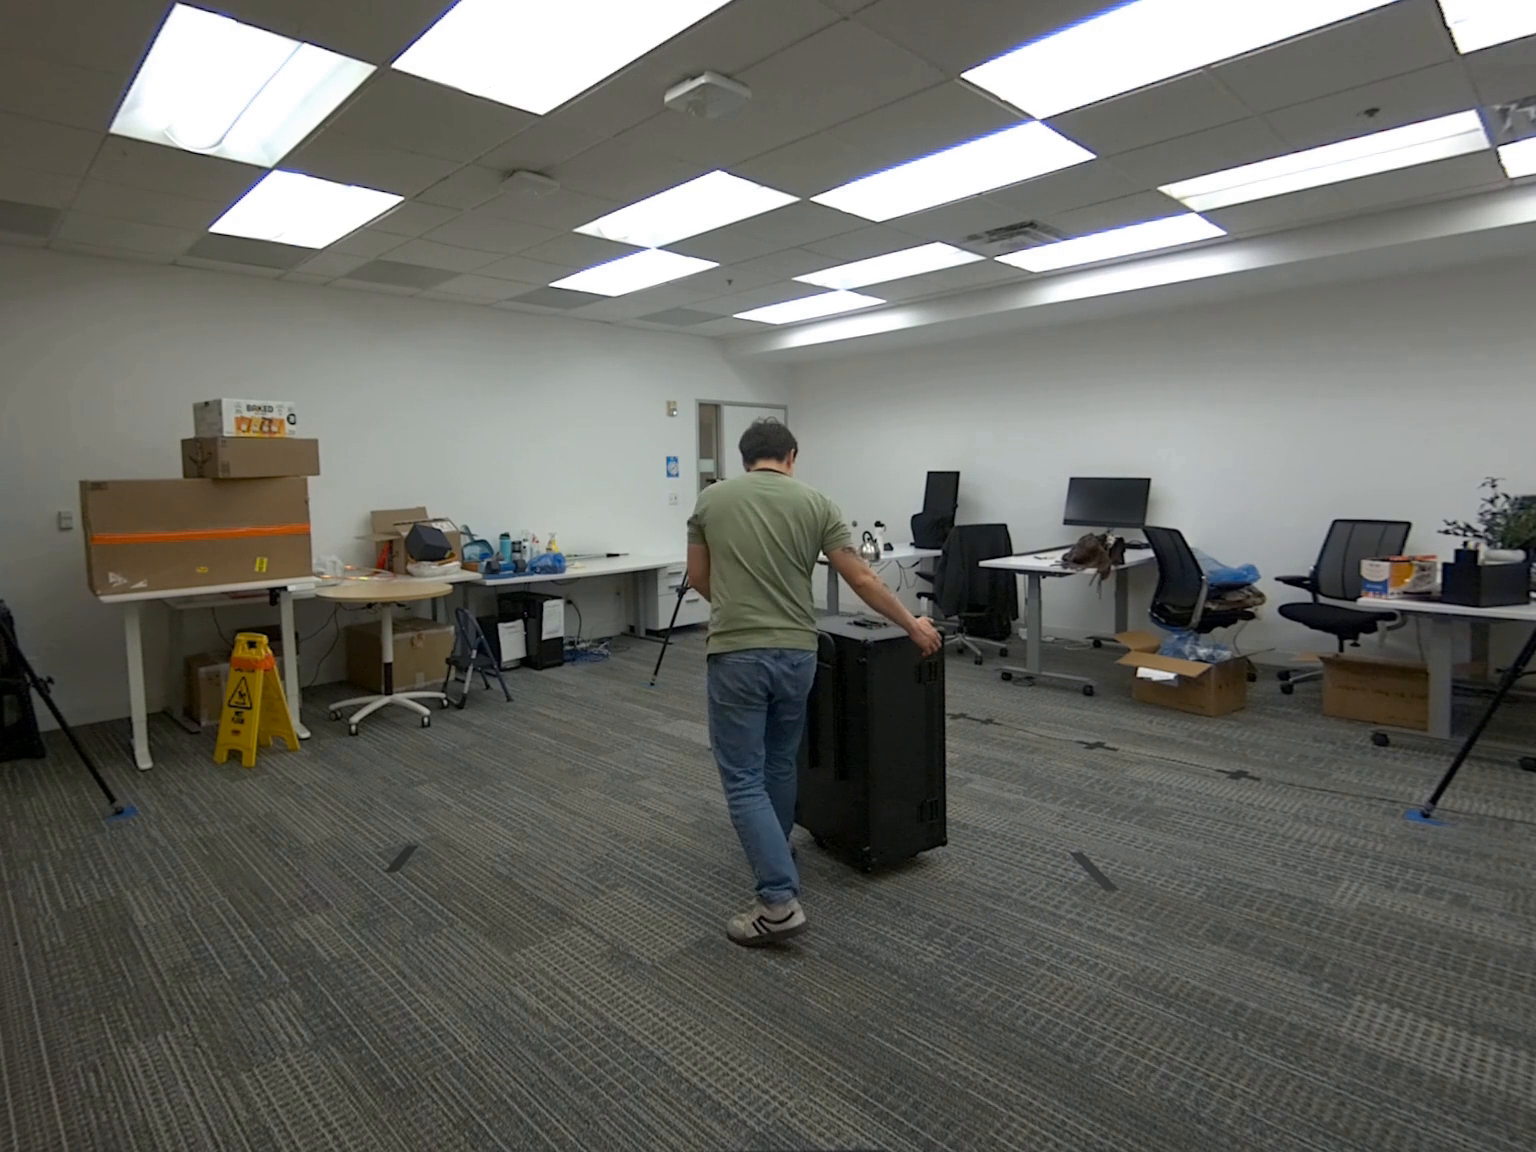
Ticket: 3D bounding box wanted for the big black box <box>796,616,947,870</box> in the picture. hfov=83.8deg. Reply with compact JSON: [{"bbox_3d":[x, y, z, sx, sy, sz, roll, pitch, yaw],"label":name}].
[{"bbox_3d":[0.354,0.608,3.159,0.387,0.858,0.536,-4,6,-31],"label":"big black box"}]
